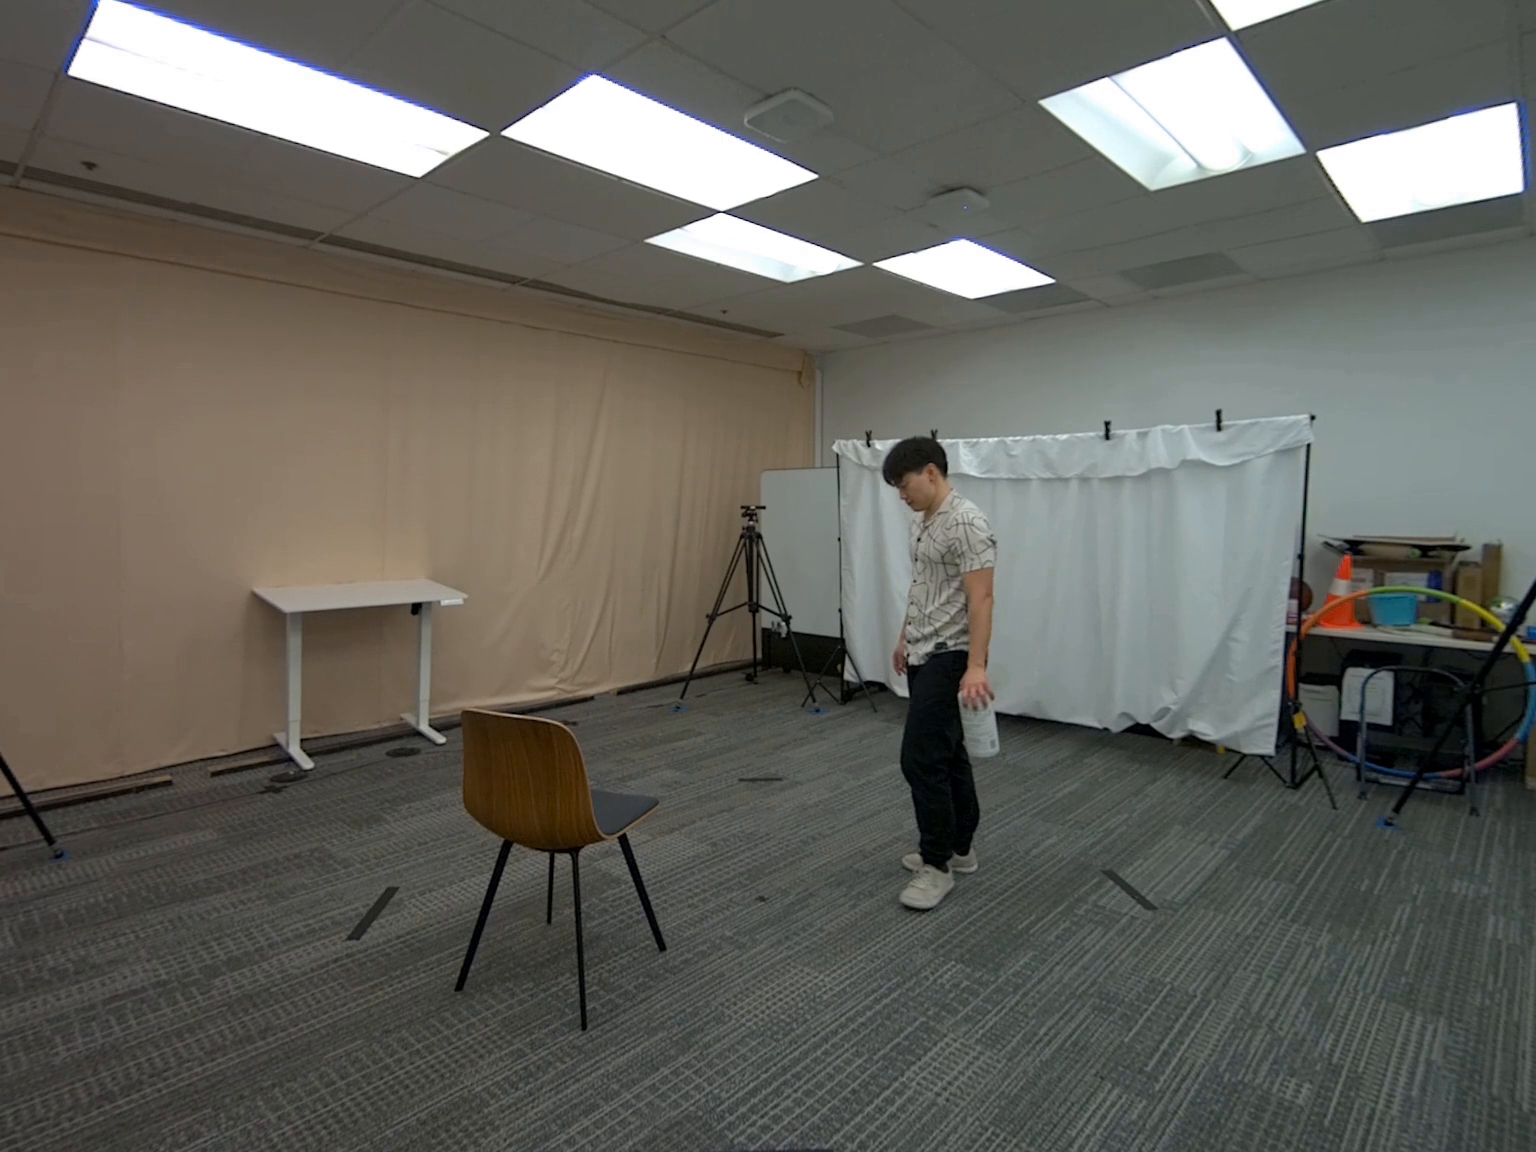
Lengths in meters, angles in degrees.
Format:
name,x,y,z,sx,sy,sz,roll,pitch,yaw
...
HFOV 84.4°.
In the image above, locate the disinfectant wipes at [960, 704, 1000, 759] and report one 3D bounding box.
name,x,y,z,sx,sy,sz,roll,pitch,yaw
disinfectant wipes,0.715,0.497,2.858,0.118,0.216,0.118,-9,9,0
